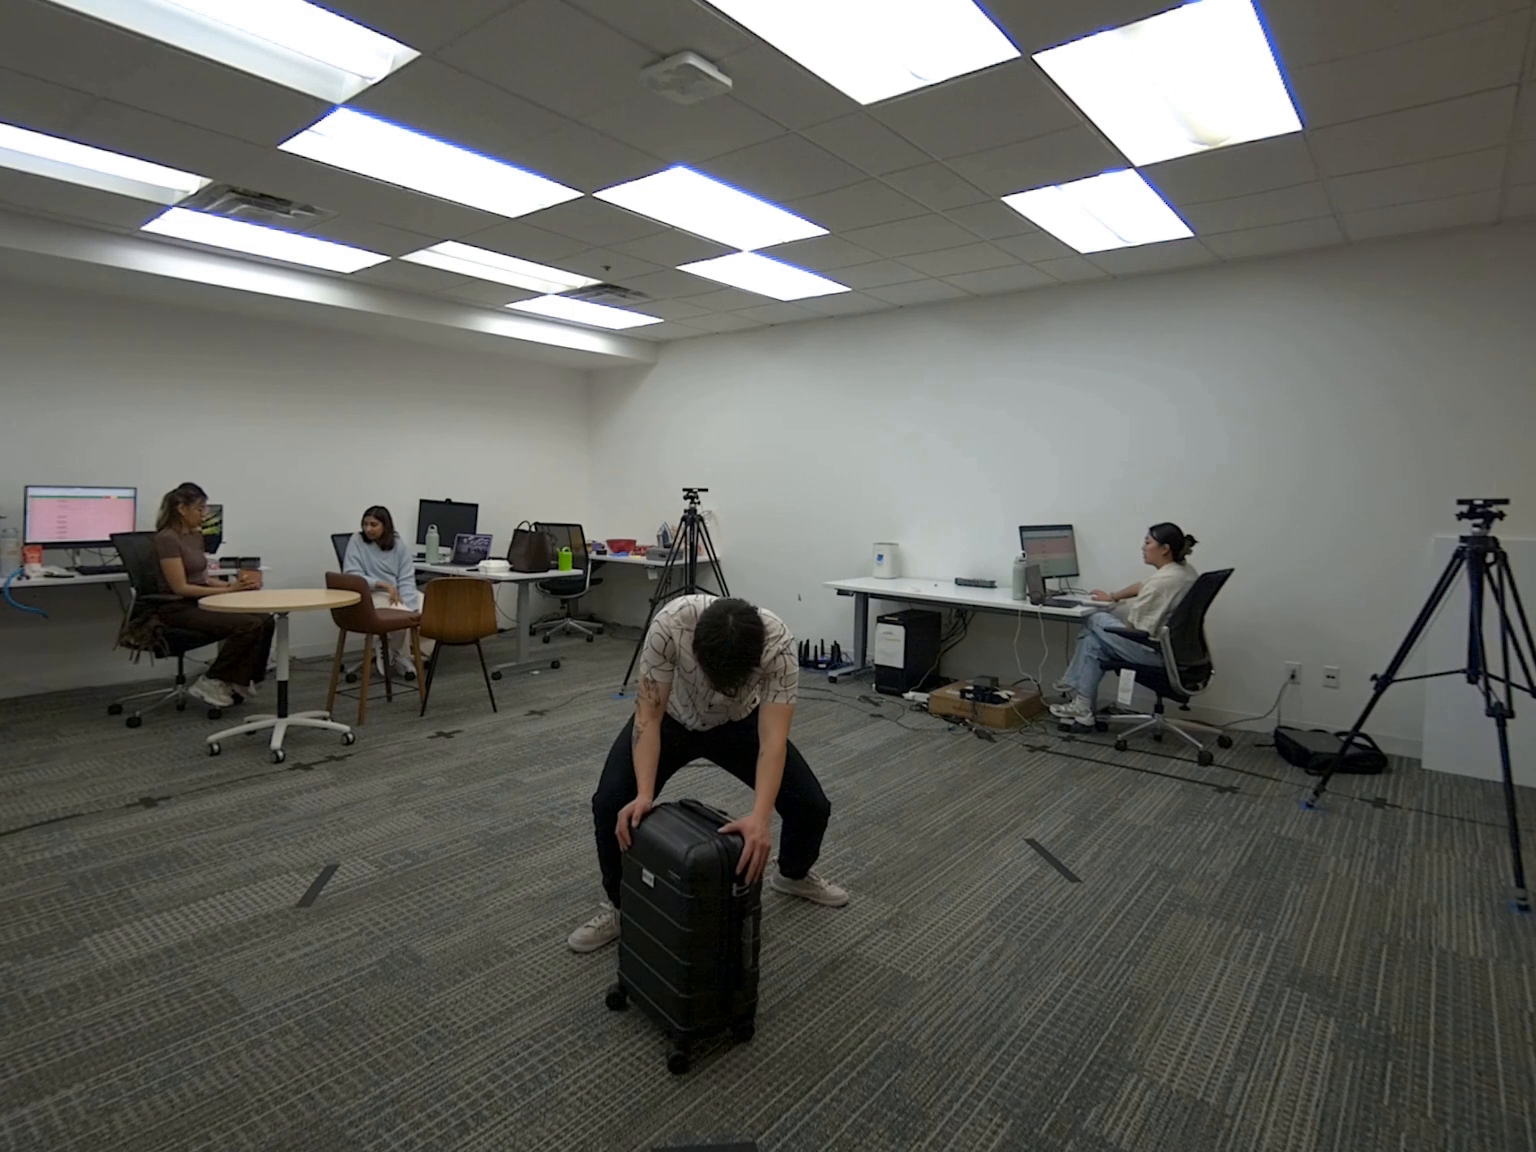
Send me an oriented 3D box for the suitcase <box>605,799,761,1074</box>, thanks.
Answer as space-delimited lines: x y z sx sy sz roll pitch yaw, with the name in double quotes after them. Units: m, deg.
-0.210 0.885 2.204 0.240 0.548 0.388 1 4 -38 "suitcase"
